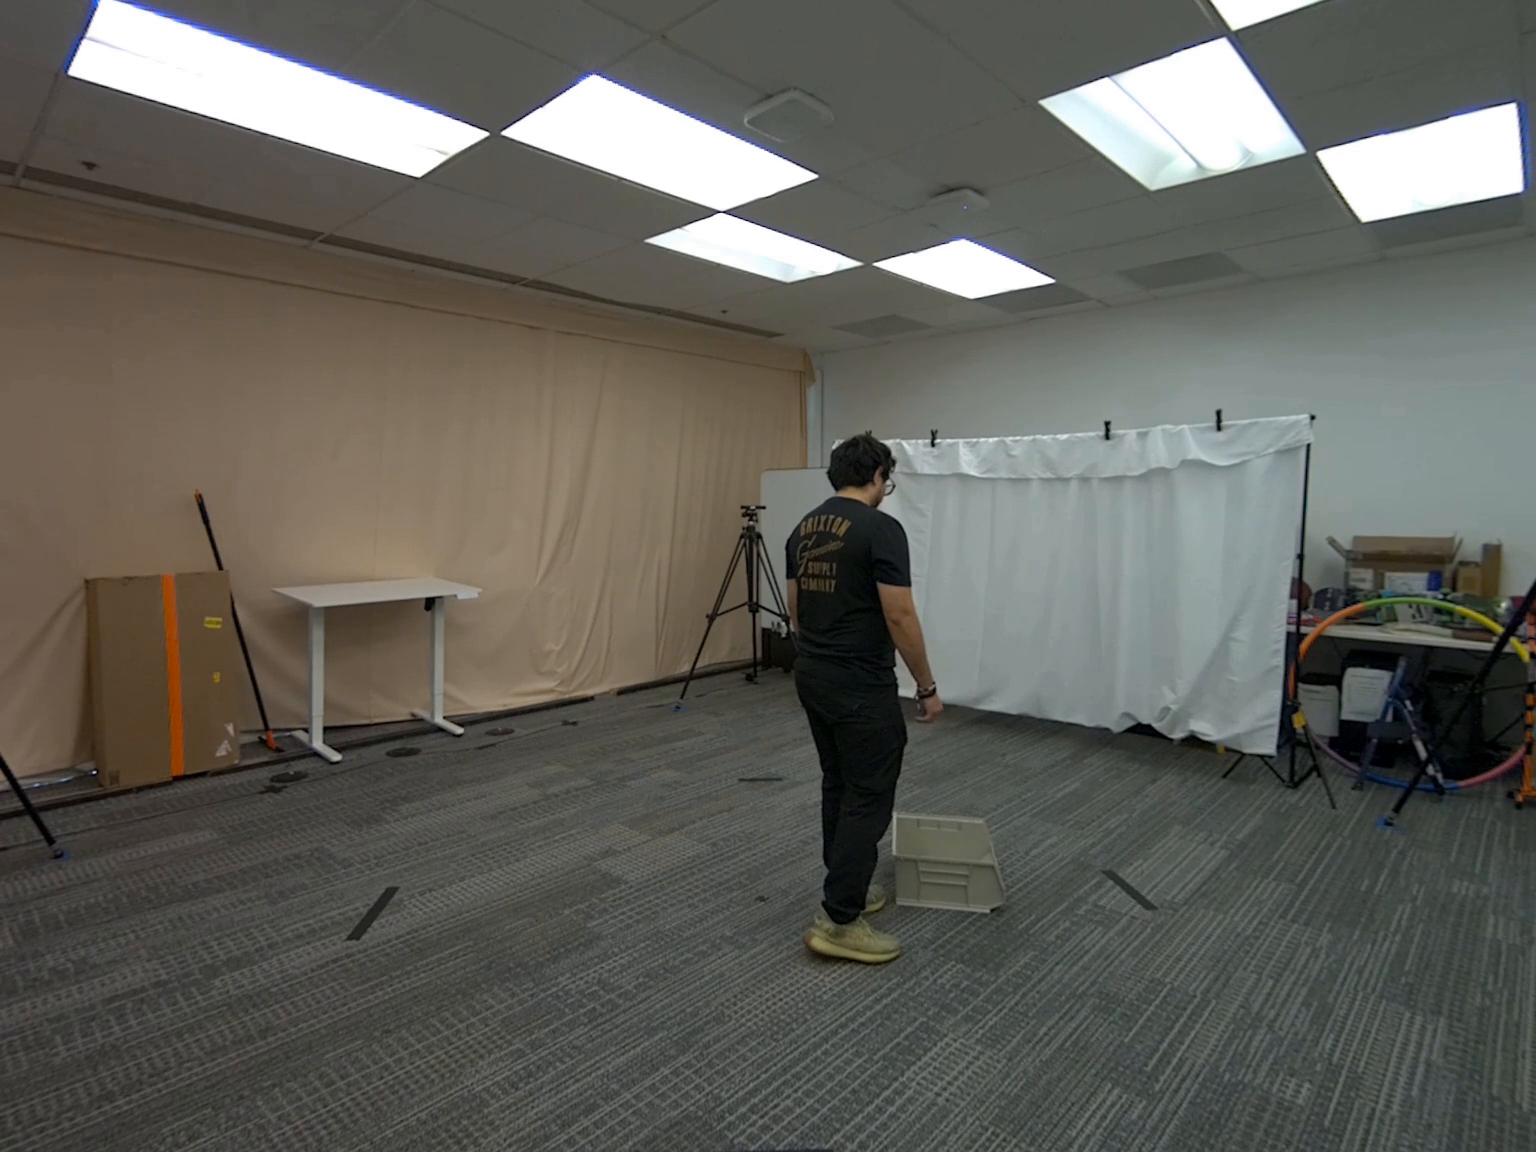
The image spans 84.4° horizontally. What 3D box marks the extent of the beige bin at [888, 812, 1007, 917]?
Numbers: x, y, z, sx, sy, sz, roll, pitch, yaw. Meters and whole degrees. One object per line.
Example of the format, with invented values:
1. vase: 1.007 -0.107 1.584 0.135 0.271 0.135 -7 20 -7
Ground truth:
1. beige bin: 0.661 1.047 3.094 0.382 0.188 0.418 0 5 10
